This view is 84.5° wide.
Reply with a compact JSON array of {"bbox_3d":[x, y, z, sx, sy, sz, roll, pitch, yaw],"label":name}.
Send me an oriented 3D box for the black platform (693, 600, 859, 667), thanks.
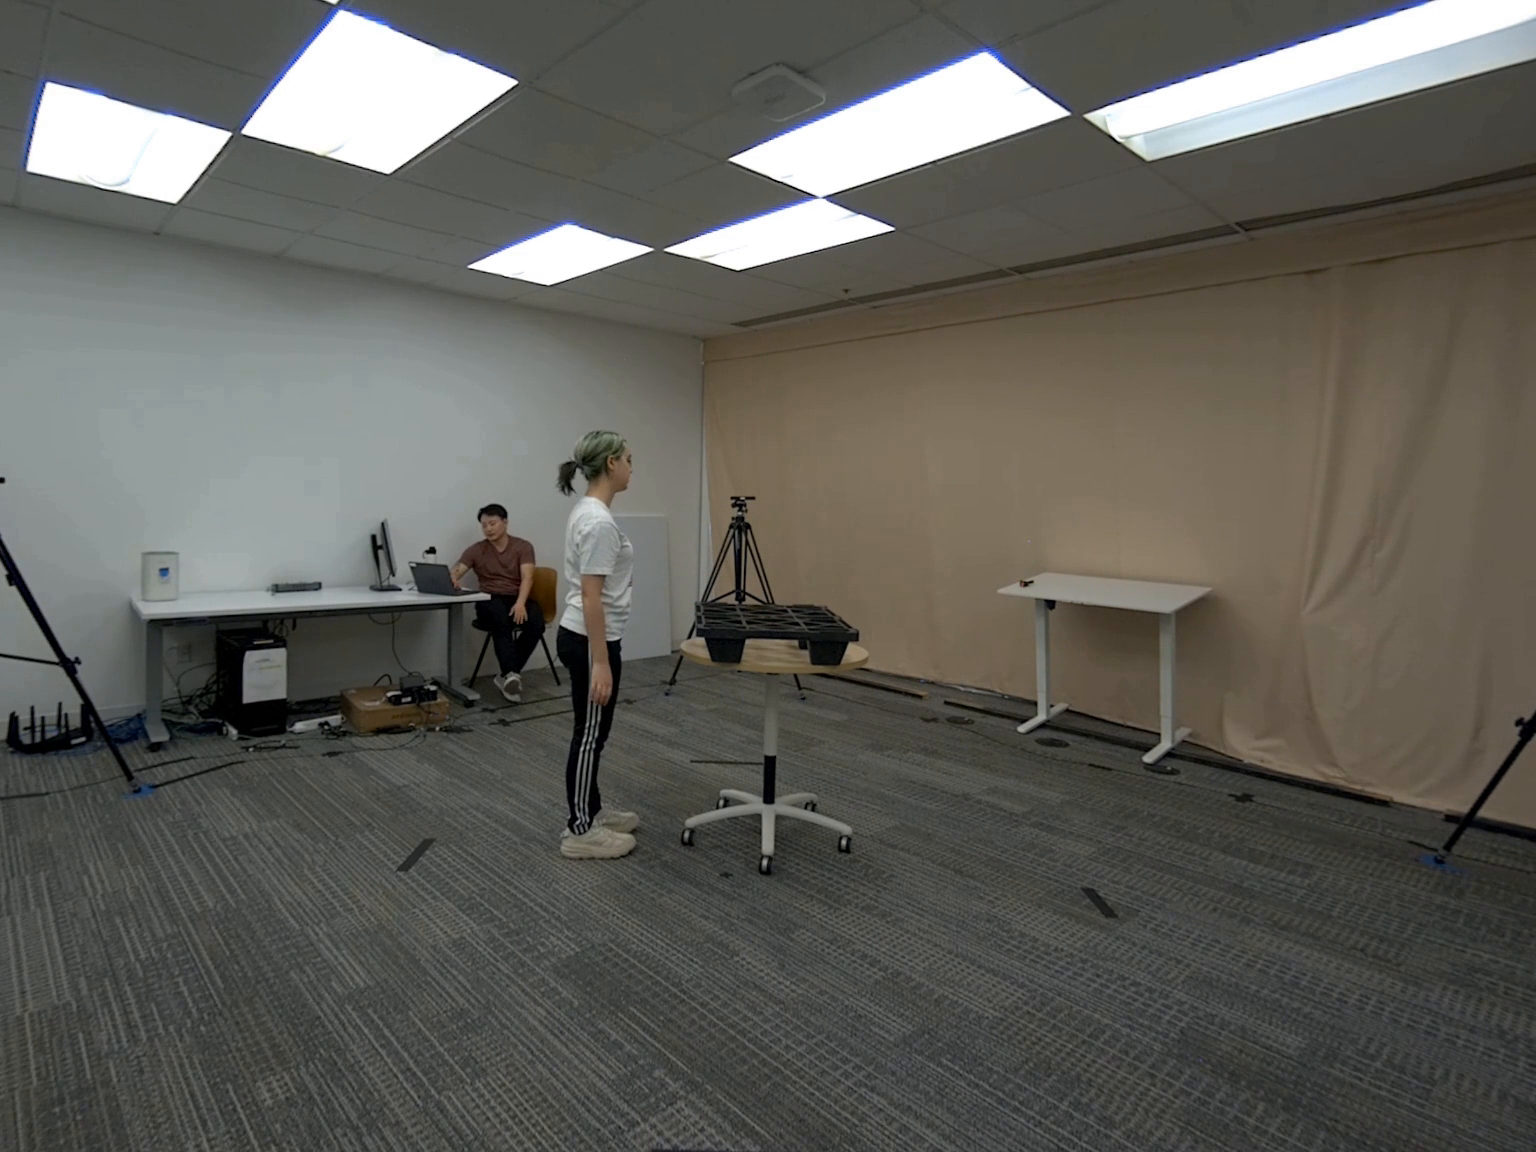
[{"bbox_3d":[-0.013,0.228,3.443,0.604,0.143,0.810,2,5,-4],"label":"black platform"}]
